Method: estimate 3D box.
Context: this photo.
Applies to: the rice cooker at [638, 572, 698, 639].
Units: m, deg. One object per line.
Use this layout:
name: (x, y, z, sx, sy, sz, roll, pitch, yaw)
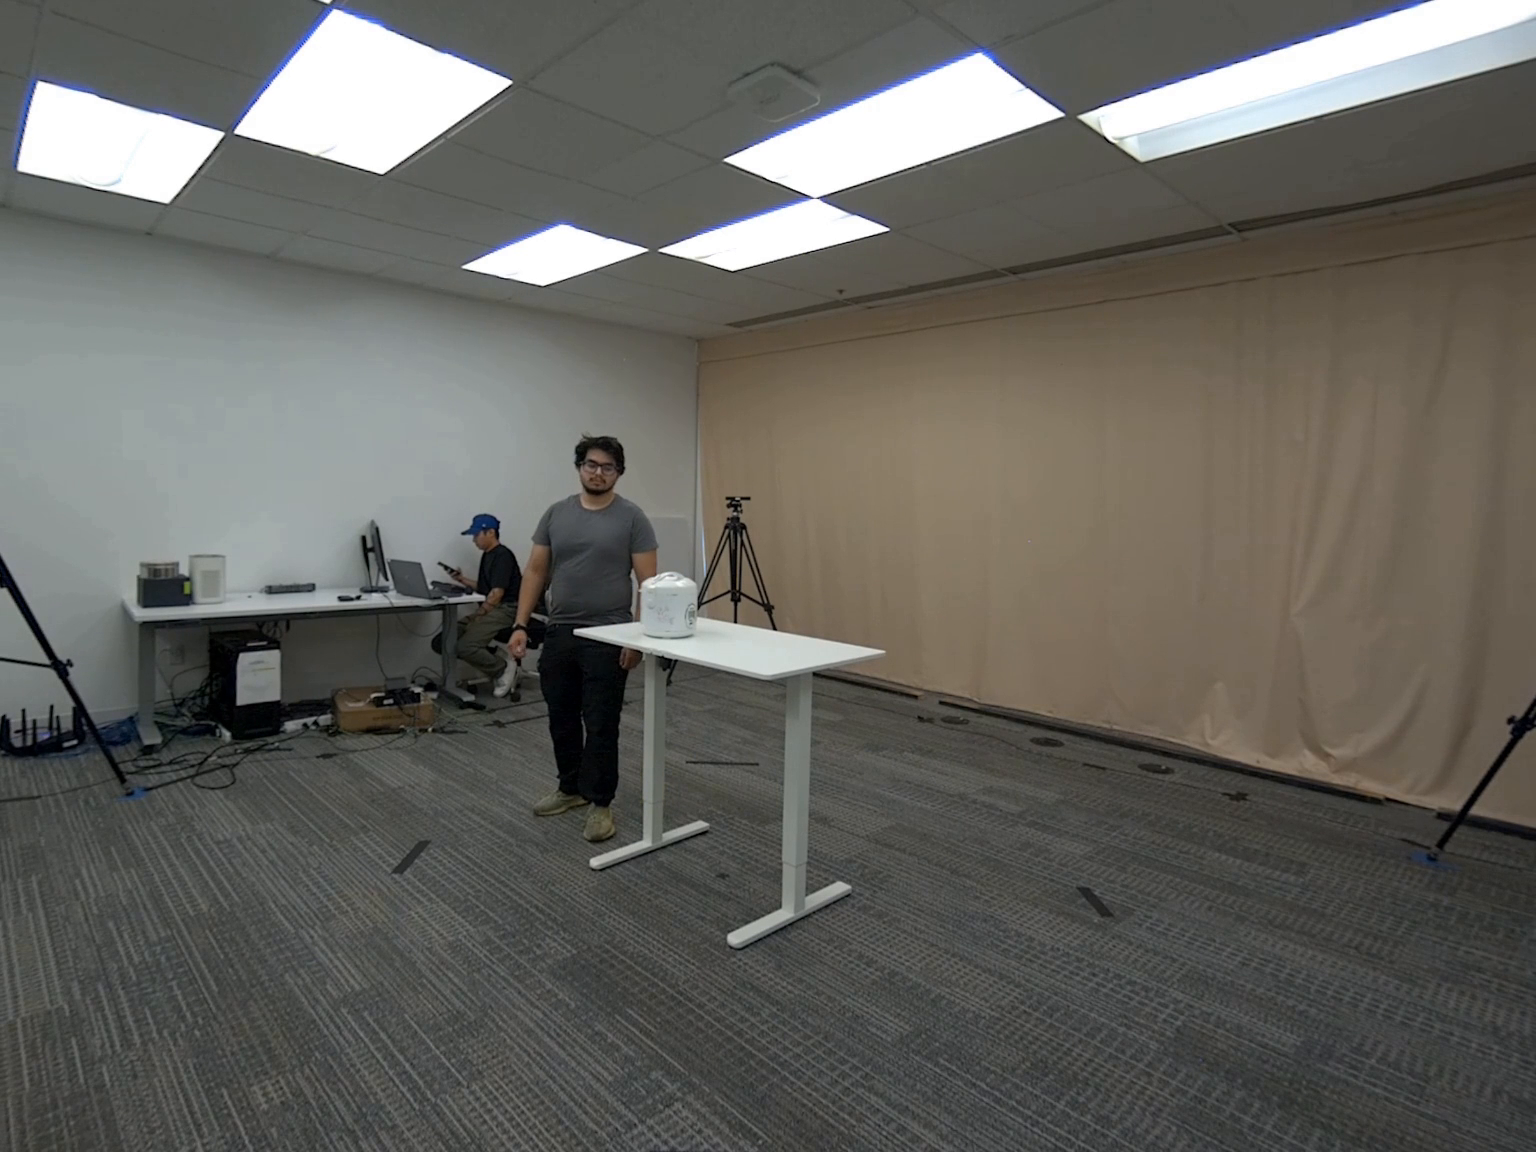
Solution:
rice cooker: (-0.367, 0.102, 3.096, 0.222, 0.232, 0.216, 3, 5, 35)
